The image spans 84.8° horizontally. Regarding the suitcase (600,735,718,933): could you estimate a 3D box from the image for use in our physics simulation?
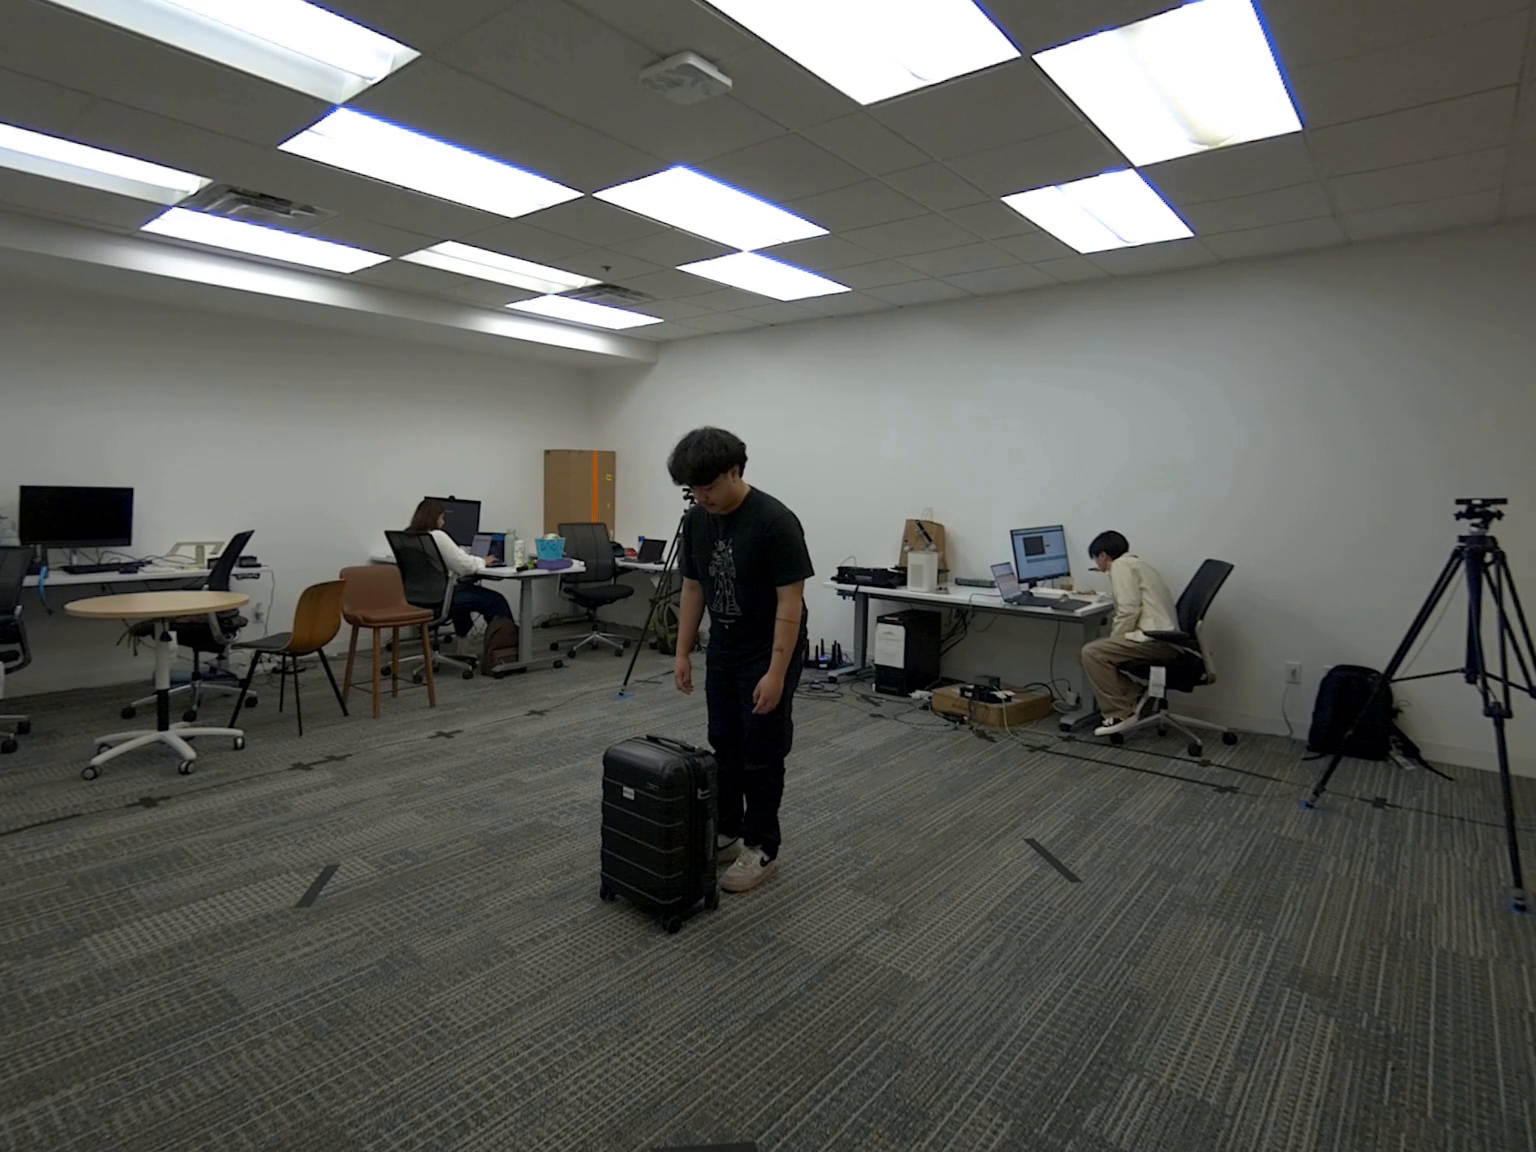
[{"bbox_3d":[-0.374,0.828,2.797,0.388,0.547,0.241,5,6,42],"label":"suitcase"}]
